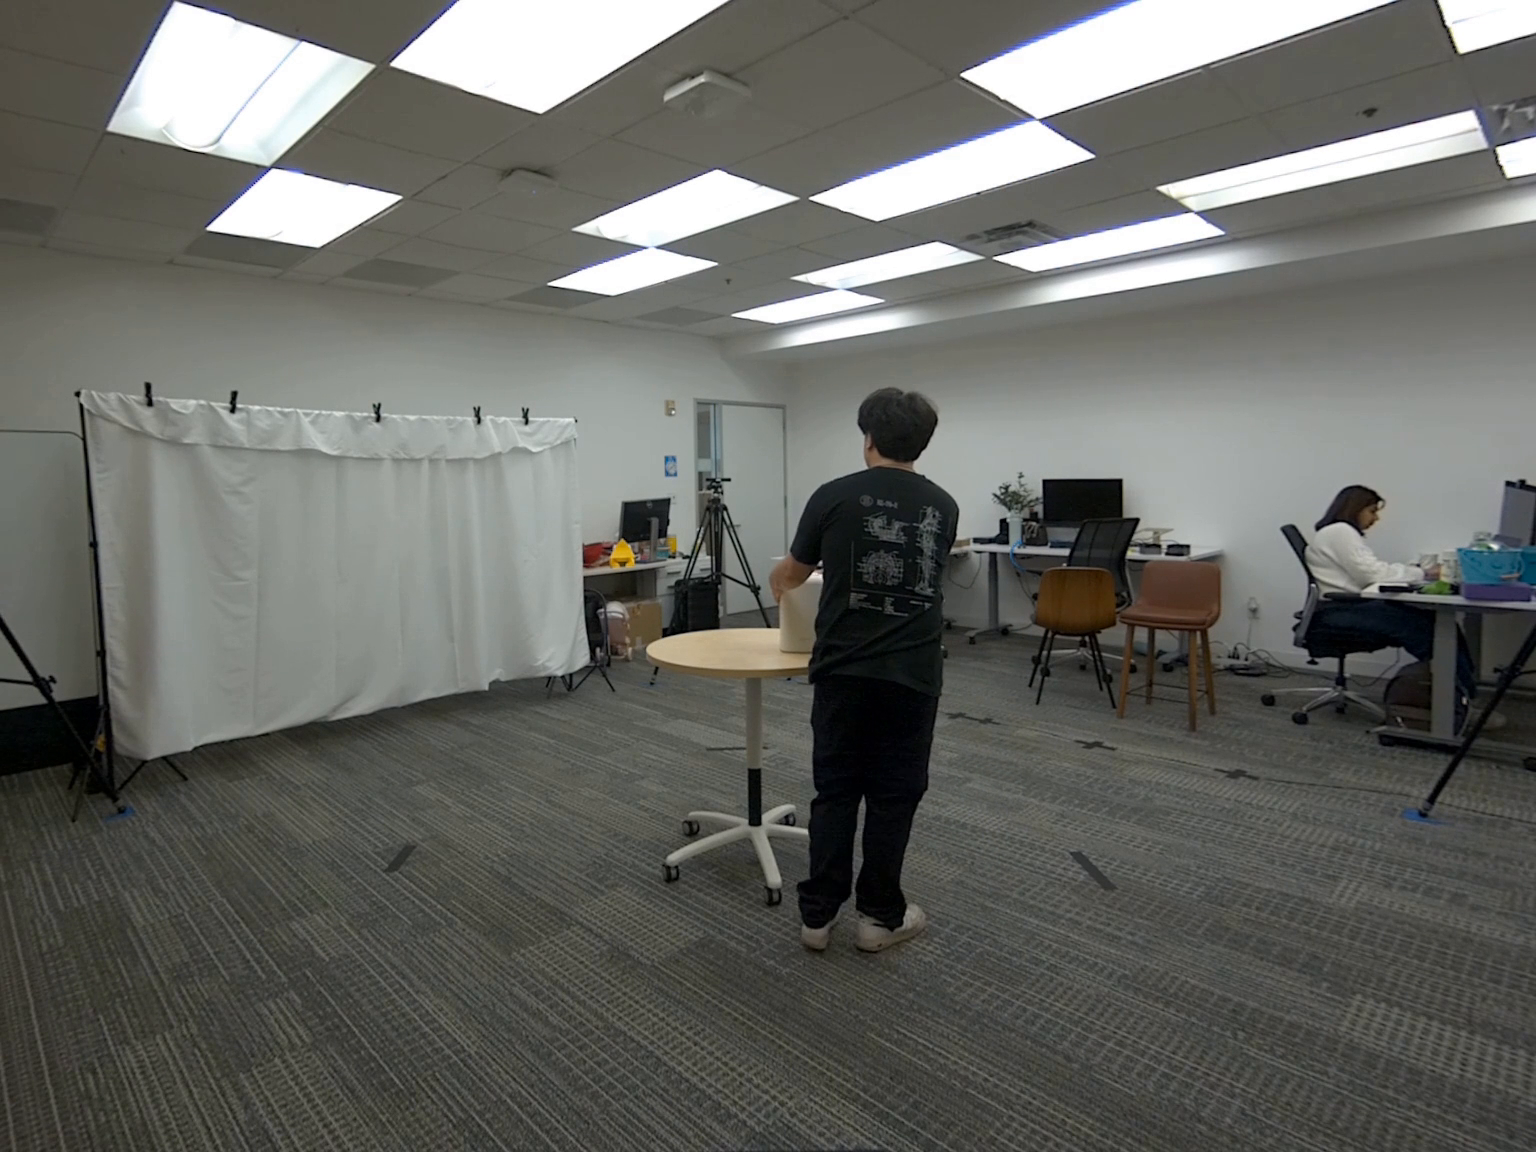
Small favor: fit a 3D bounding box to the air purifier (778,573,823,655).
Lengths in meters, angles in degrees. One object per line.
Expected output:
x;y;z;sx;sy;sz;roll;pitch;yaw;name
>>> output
0.135;0.126;3.008;0.172;0.264;0.171;1;6;6;air purifier
